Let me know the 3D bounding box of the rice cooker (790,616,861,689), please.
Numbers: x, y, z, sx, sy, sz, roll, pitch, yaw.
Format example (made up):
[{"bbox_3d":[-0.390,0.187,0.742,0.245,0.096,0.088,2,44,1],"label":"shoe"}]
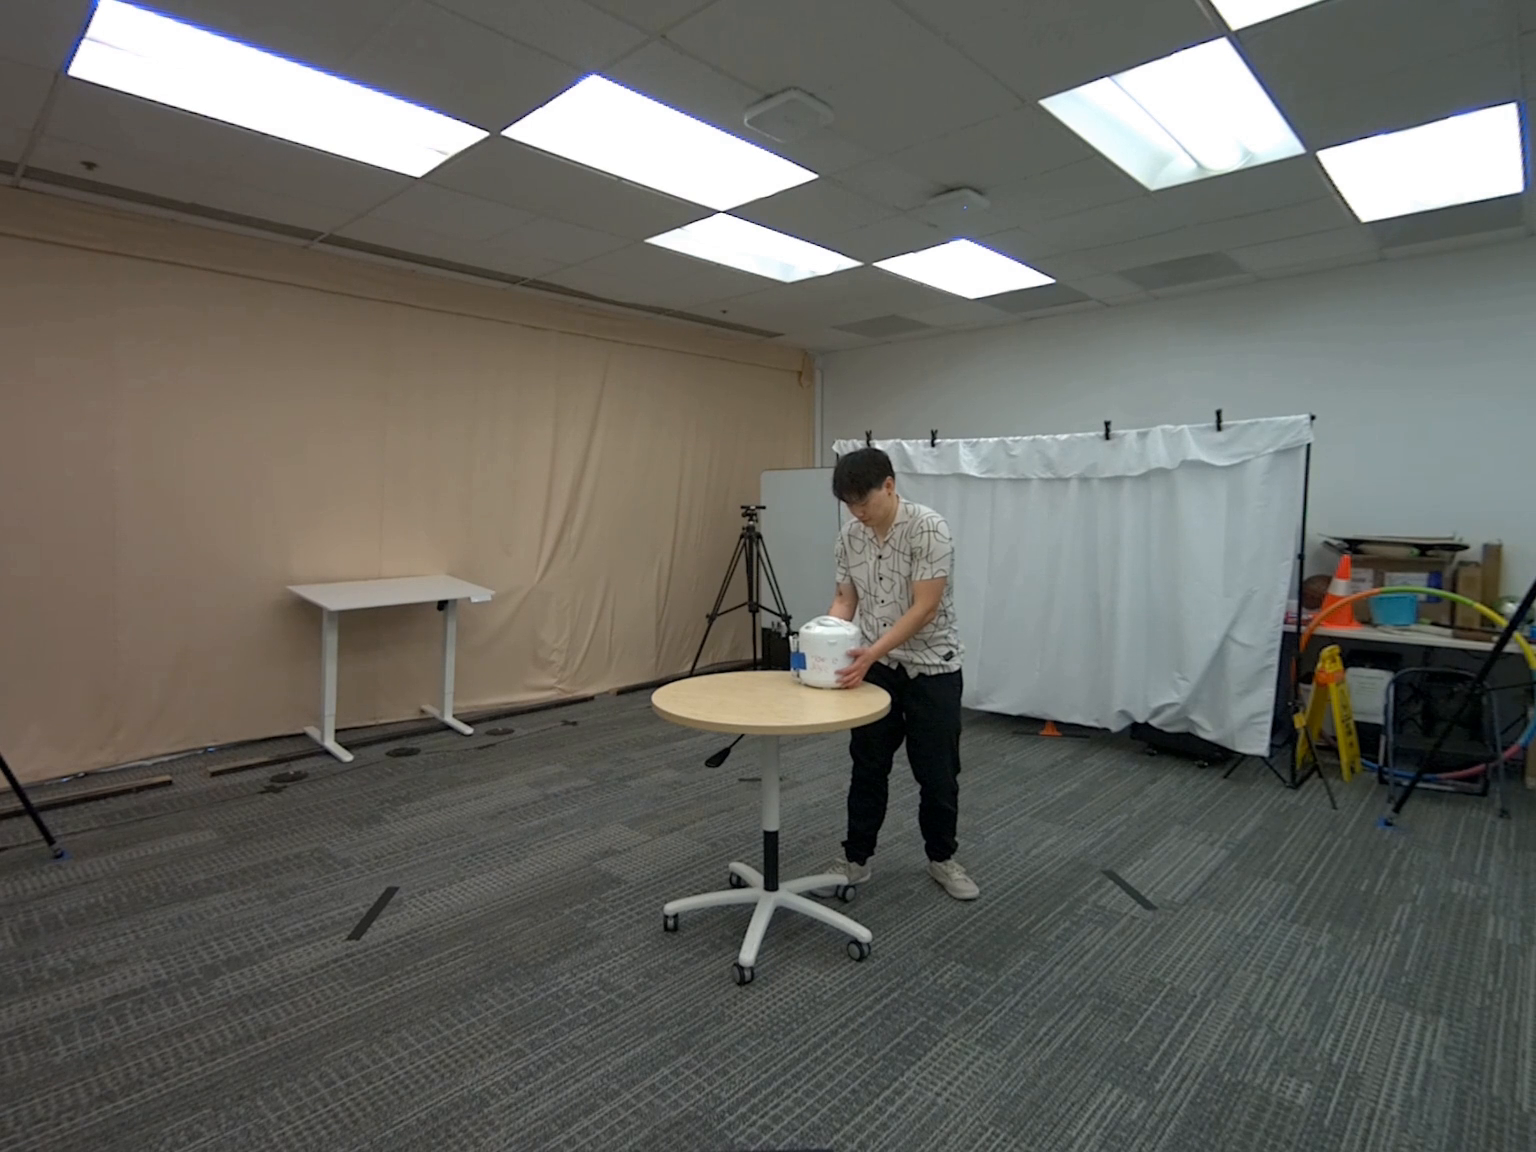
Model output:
[{"bbox_3d":[0.205,0.257,2.862,0.211,0.232,0.228,-4,5,-40],"label":"rice cooker"}]
